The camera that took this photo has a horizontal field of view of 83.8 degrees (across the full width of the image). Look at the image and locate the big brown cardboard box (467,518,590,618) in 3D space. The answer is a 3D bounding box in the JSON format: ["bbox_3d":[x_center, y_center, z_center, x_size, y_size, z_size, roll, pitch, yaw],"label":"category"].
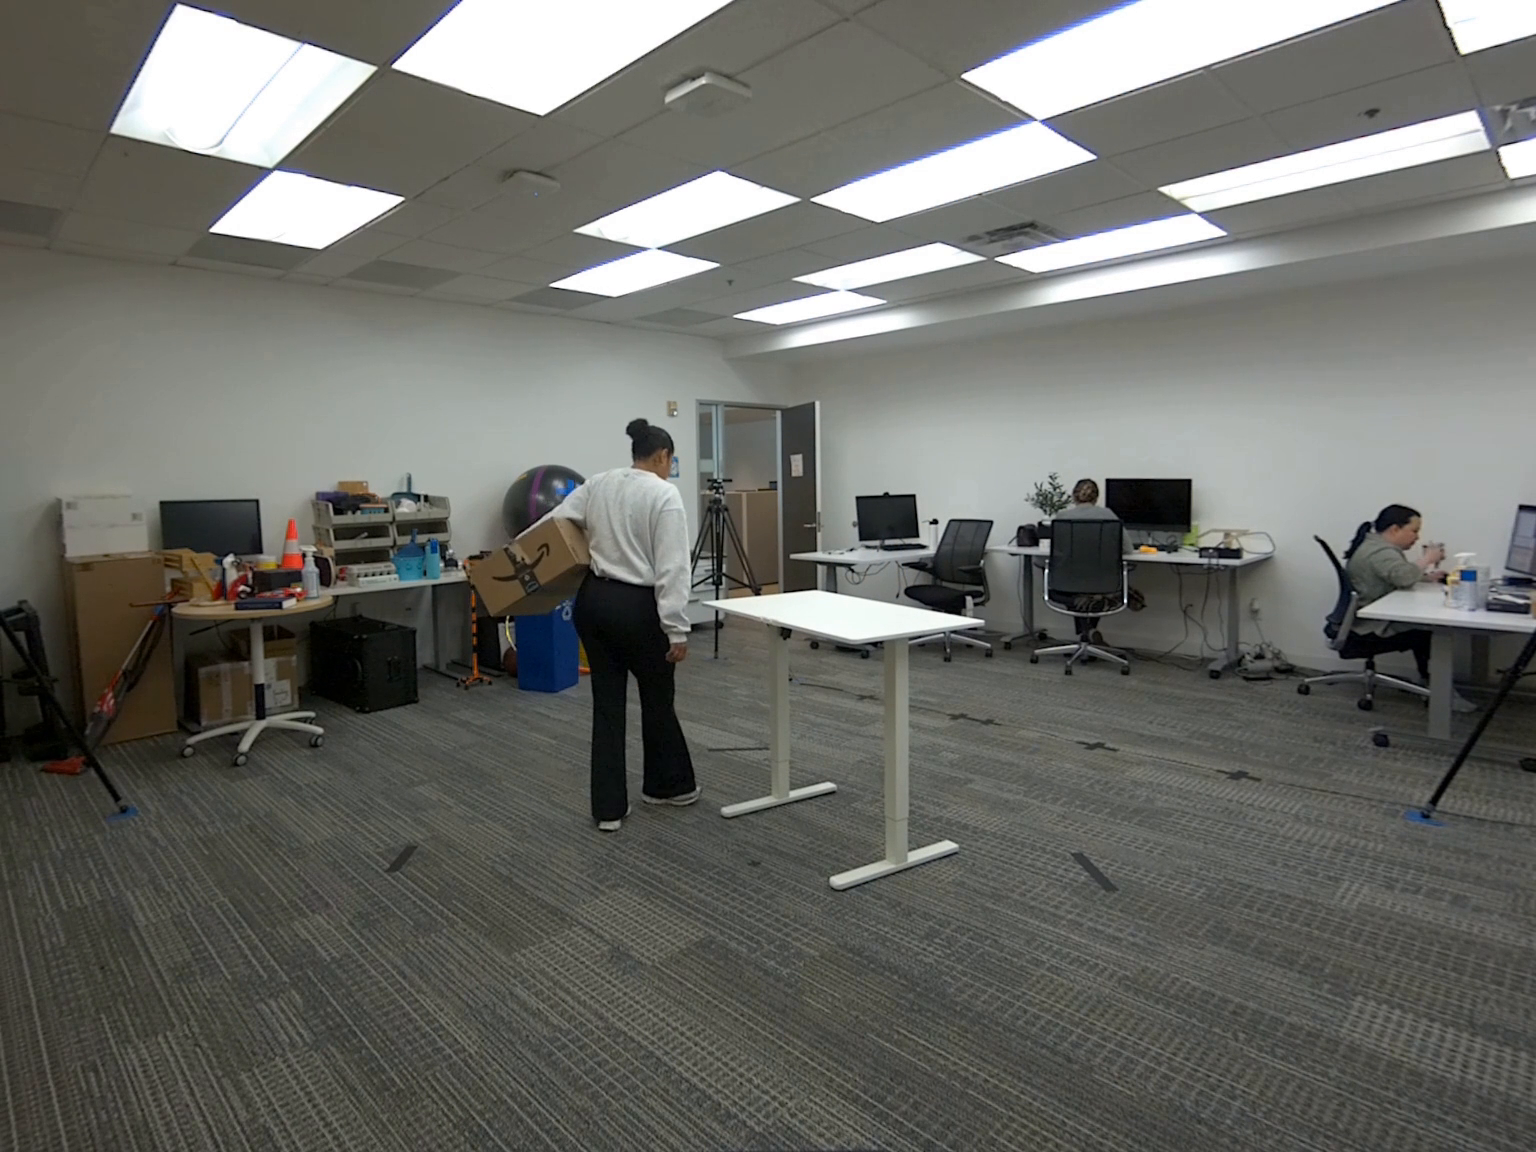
[{"bbox_3d":[-0.917,-0.033,3.615,0.418,0.235,0.582,-31,-5,6],"label":"big brown cardboard box"}]
